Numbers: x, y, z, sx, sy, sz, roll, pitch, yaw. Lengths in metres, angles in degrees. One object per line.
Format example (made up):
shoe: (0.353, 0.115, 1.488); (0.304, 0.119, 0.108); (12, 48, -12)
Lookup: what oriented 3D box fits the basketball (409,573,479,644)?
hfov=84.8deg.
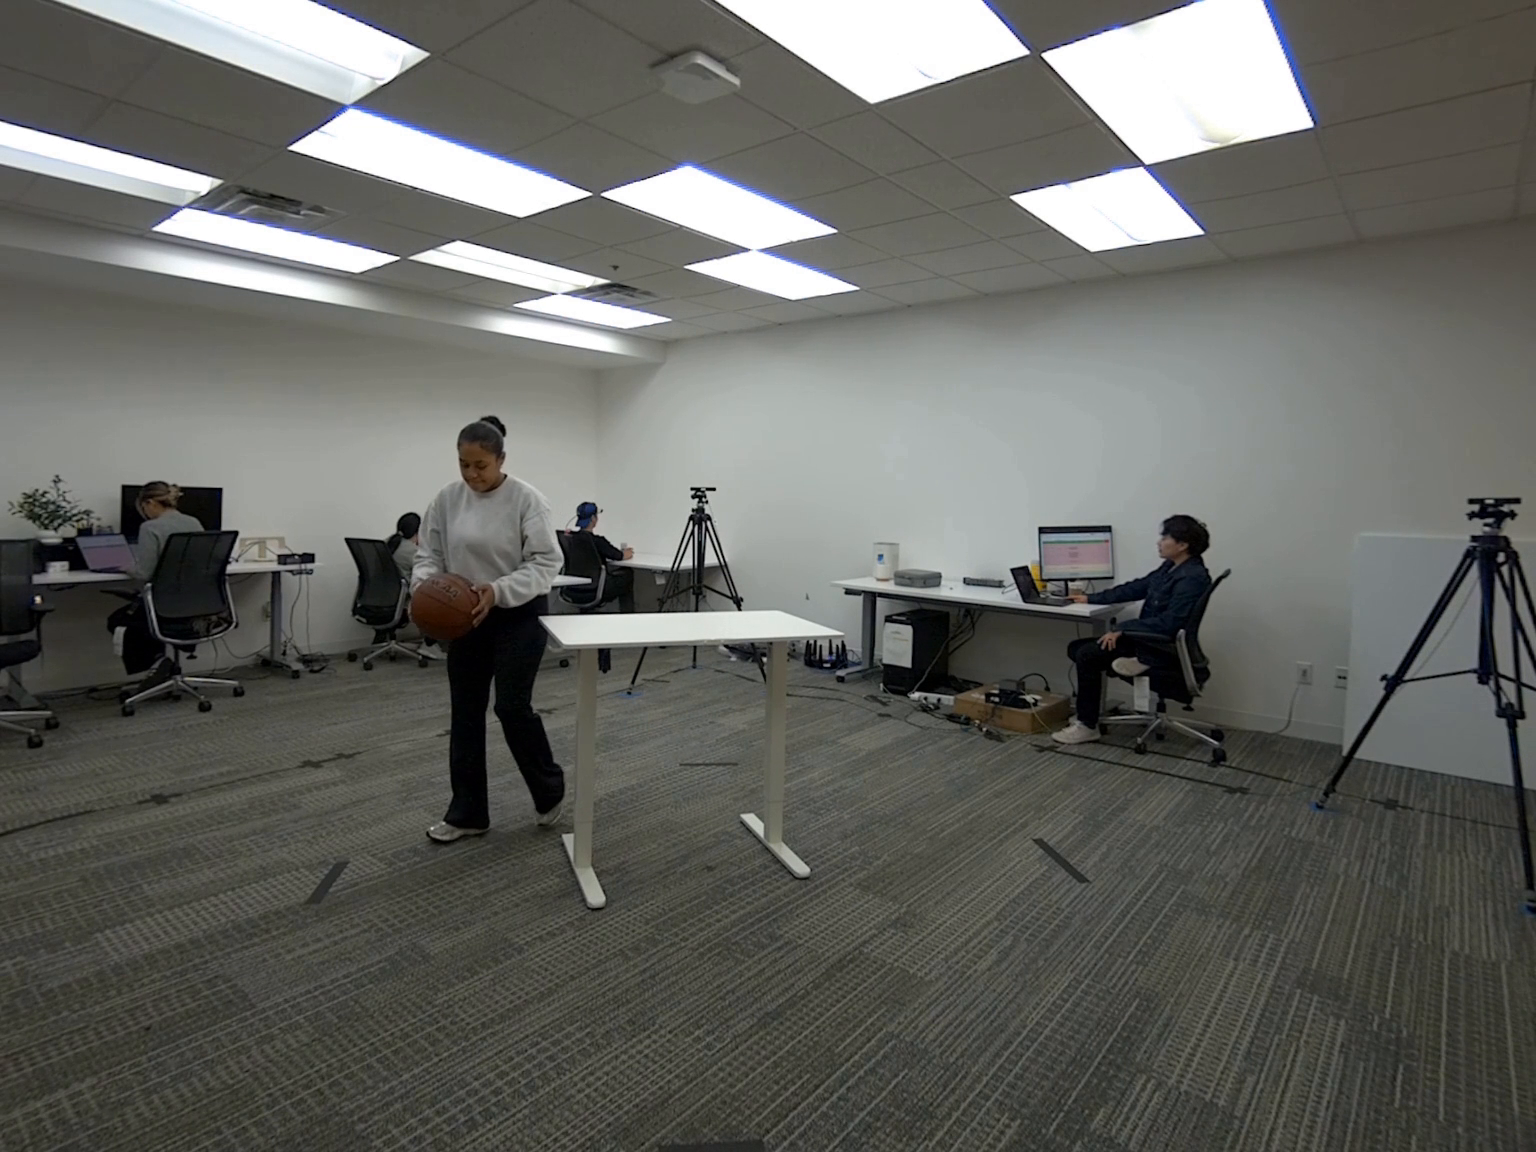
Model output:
basketball: (-1.162, 0.103, 3.022); (0.235, 0.235, 0.237); (1, 4, -2)
